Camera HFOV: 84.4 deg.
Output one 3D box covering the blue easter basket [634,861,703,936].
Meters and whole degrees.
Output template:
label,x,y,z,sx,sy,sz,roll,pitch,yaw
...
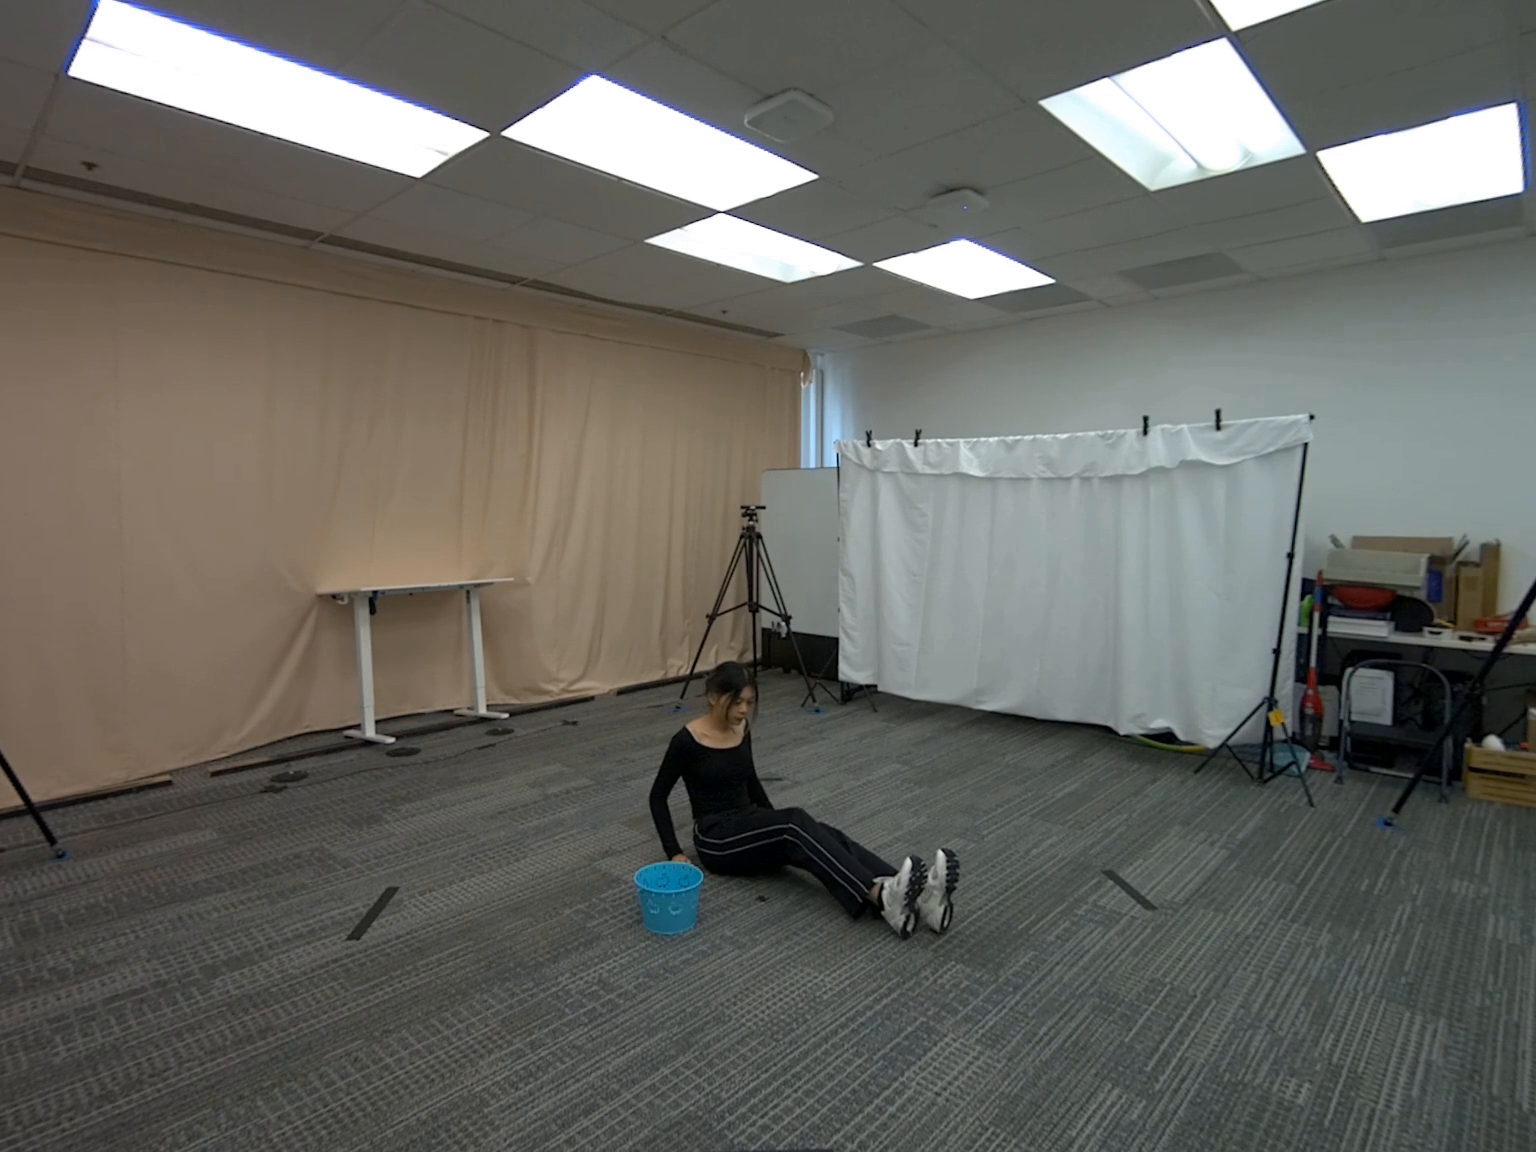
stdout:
label,x,y,z,sx,sy,sz,roll,pitch,yaw
blue easter basket,-0.335,1.079,2.830,0.243,0.155,0.244,0,5,-2
